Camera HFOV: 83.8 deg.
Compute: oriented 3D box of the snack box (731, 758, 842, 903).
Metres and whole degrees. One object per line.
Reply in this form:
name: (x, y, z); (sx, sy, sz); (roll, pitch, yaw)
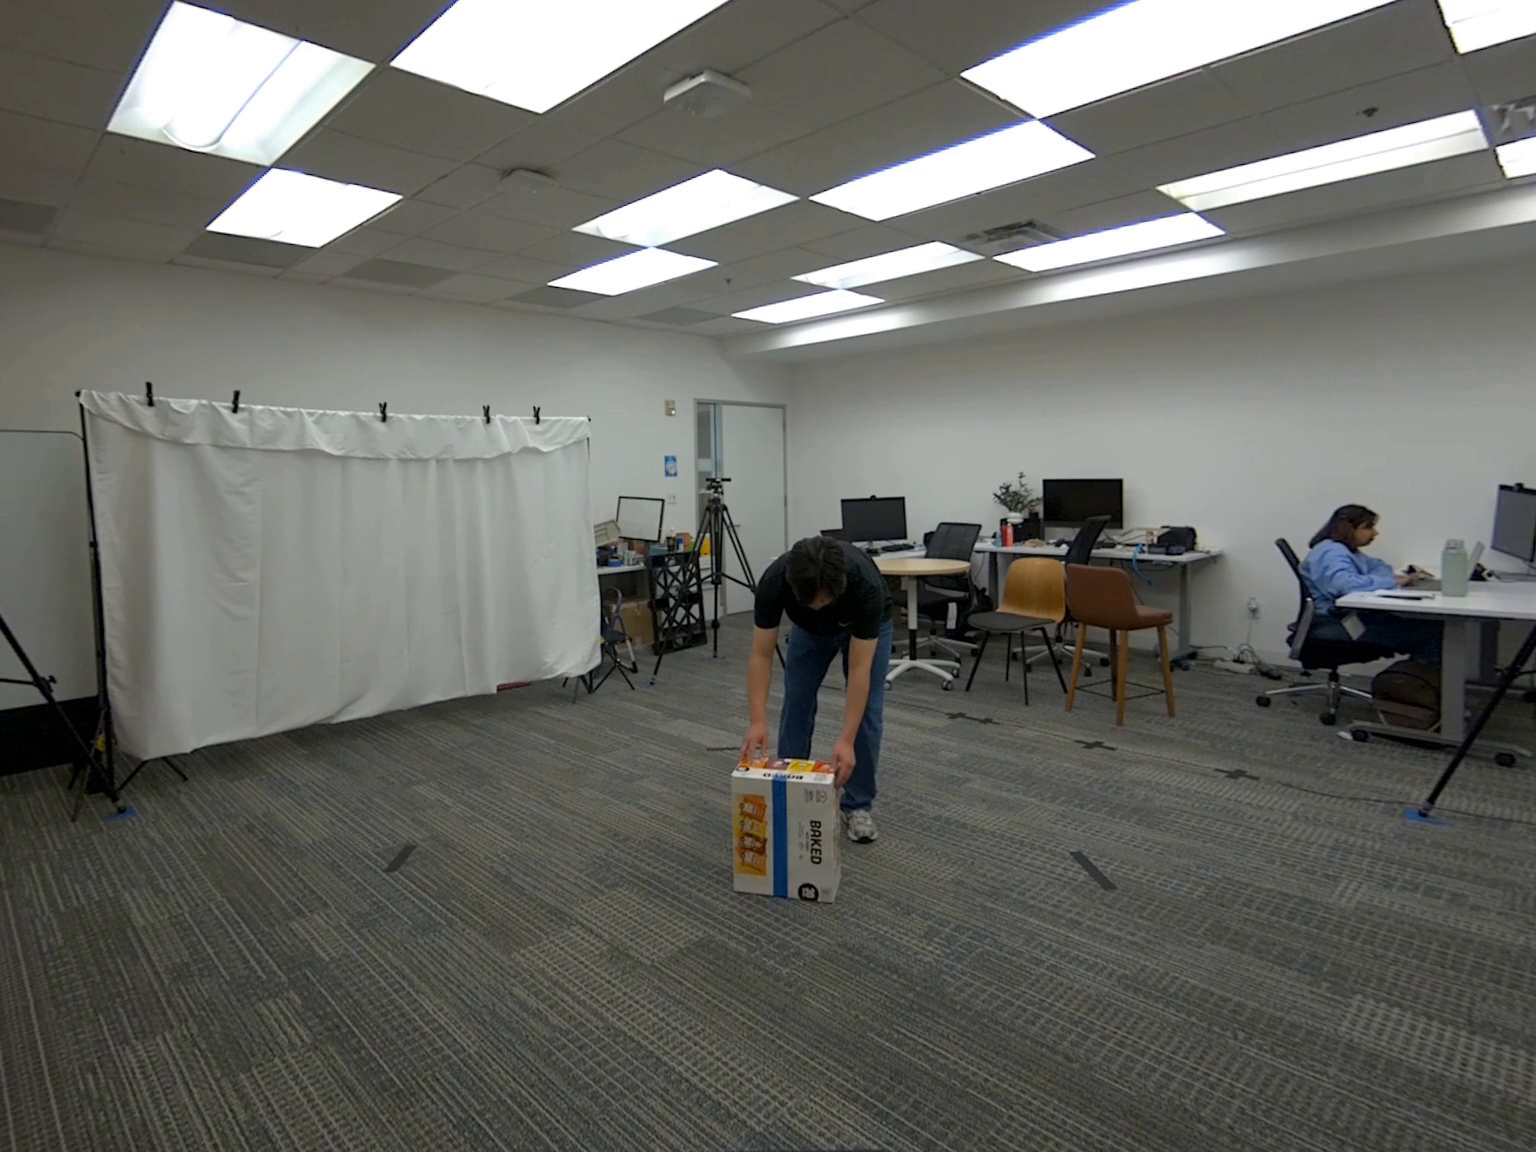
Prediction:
snack box: (0.068, 0.857, 2.926); (0.346, 0.403, 0.203); (0, 4, 16)
